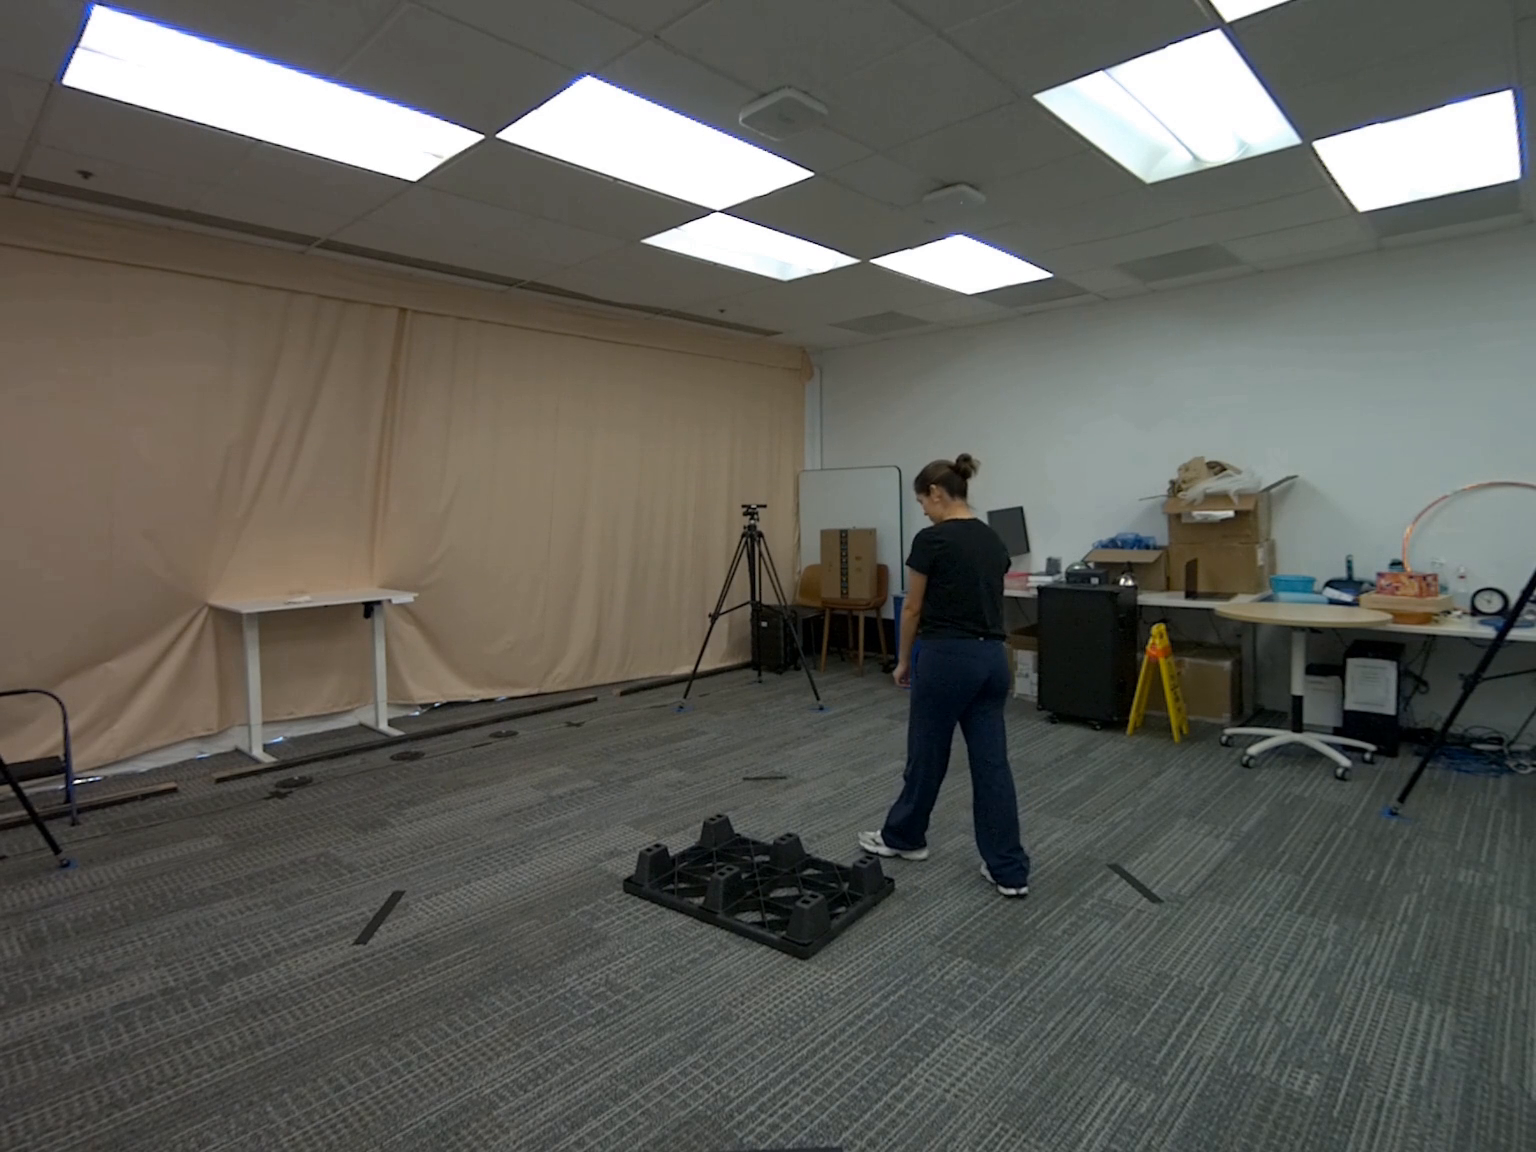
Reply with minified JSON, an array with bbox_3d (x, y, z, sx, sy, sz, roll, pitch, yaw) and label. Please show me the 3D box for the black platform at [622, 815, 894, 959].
[{"bbox_3d":[-0.015,1.069,3.039,0.831,0.143,0.588,3,7,37],"label":"black platform"}]
